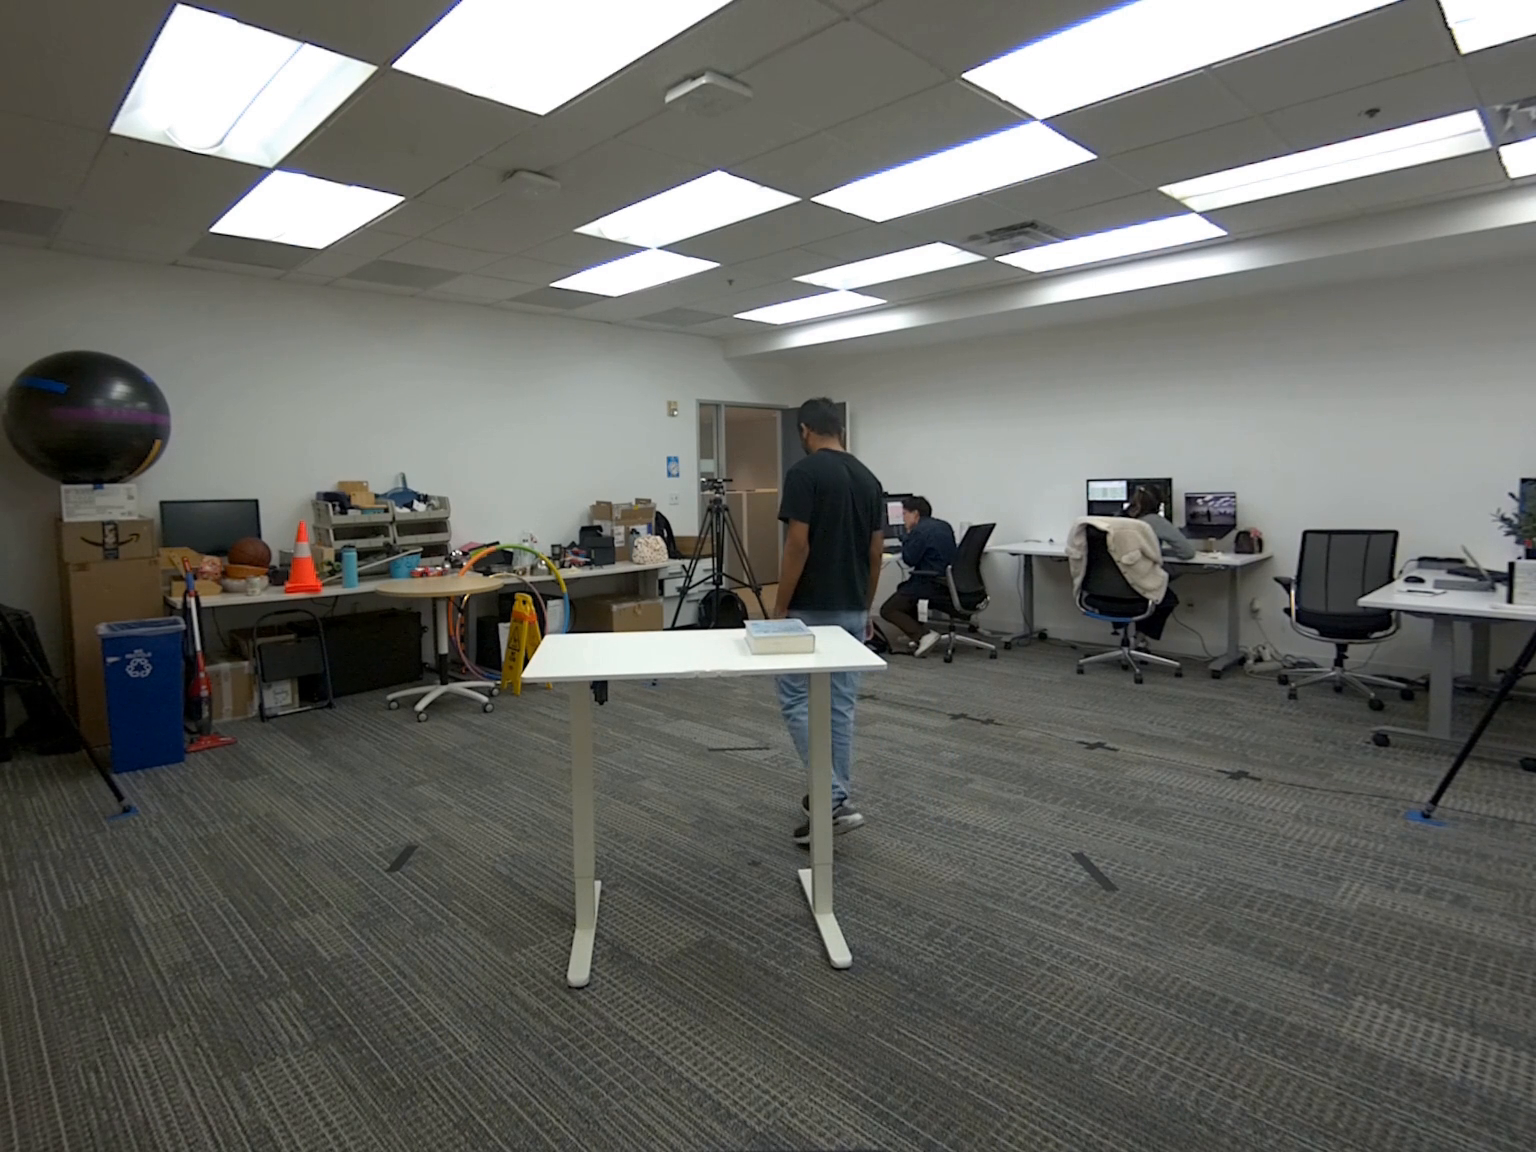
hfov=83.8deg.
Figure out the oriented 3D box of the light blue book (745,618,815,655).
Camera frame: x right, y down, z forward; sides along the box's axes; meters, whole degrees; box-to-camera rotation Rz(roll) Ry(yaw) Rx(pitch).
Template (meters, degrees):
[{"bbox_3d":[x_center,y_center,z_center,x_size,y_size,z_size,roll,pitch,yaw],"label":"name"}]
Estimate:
[{"bbox_3d":[0.037,0.191,2.630,0.191,0.059,0.263,-2,6,-5],"label":"light blue book"}]
